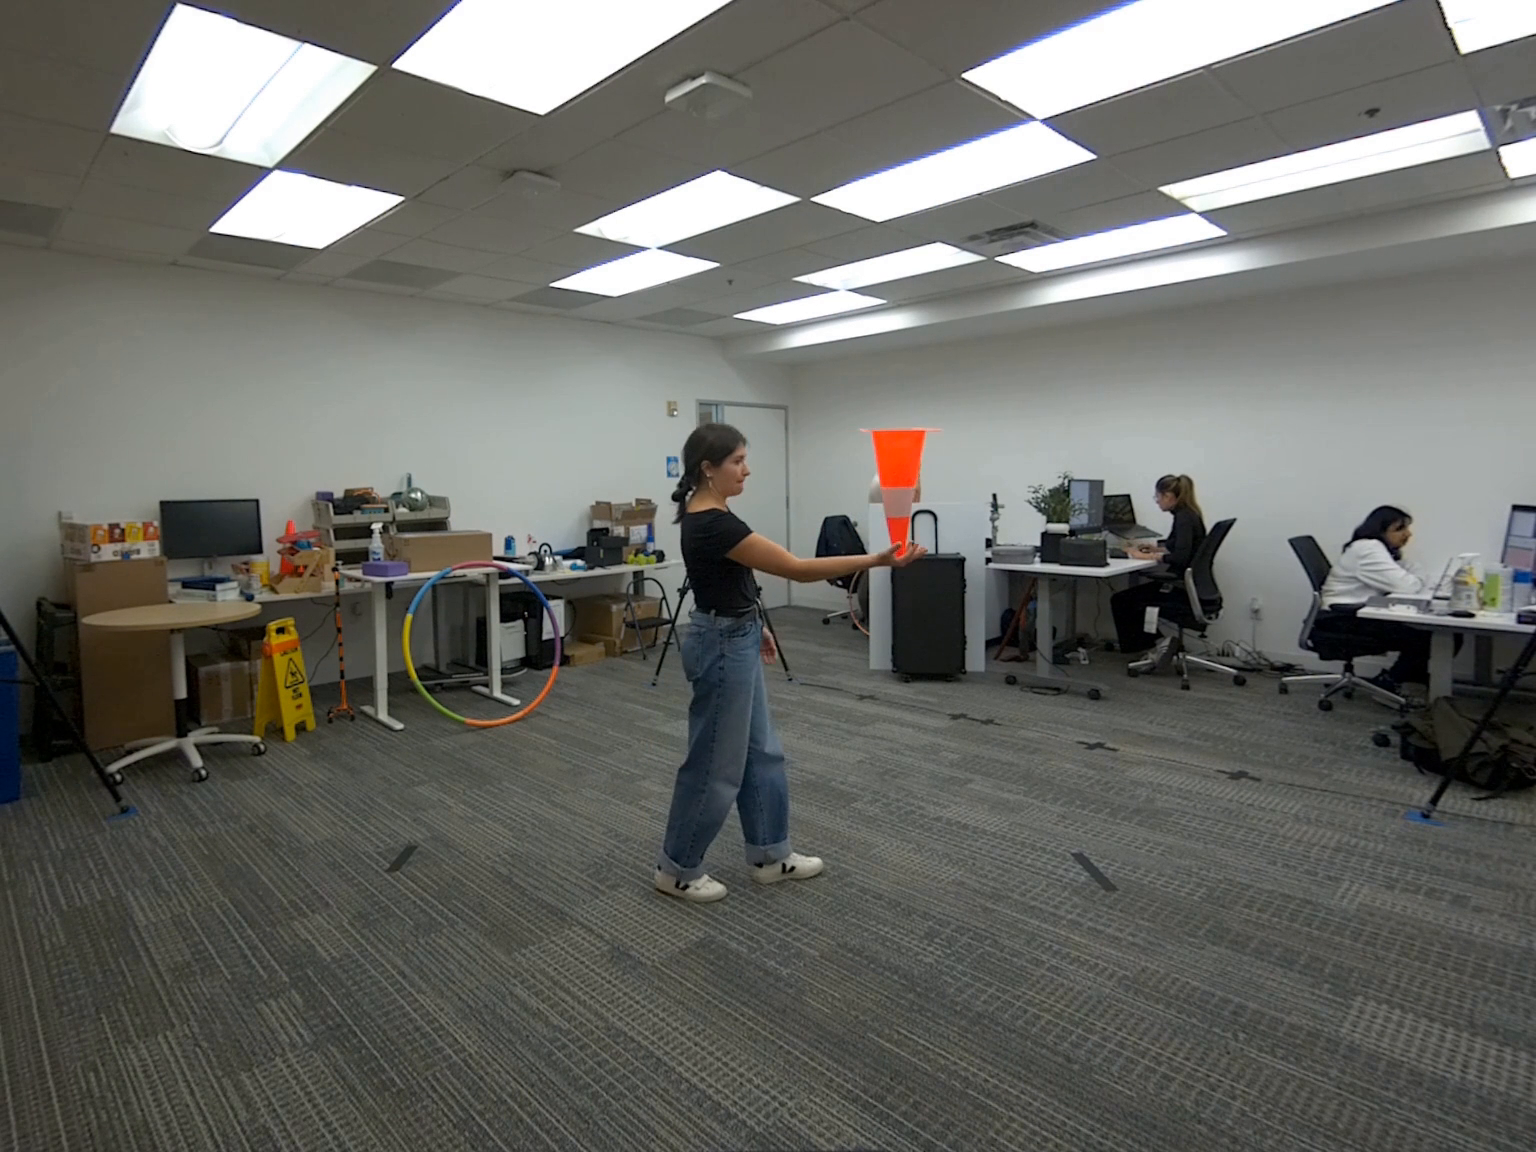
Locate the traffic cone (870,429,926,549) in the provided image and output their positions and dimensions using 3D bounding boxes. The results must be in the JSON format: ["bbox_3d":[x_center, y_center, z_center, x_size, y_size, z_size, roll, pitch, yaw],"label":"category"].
[{"bbox_3d":[0.398,-0.238,2.543,0.205,0.381,0.205,-1,8,0],"label":"traffic cone"}]
